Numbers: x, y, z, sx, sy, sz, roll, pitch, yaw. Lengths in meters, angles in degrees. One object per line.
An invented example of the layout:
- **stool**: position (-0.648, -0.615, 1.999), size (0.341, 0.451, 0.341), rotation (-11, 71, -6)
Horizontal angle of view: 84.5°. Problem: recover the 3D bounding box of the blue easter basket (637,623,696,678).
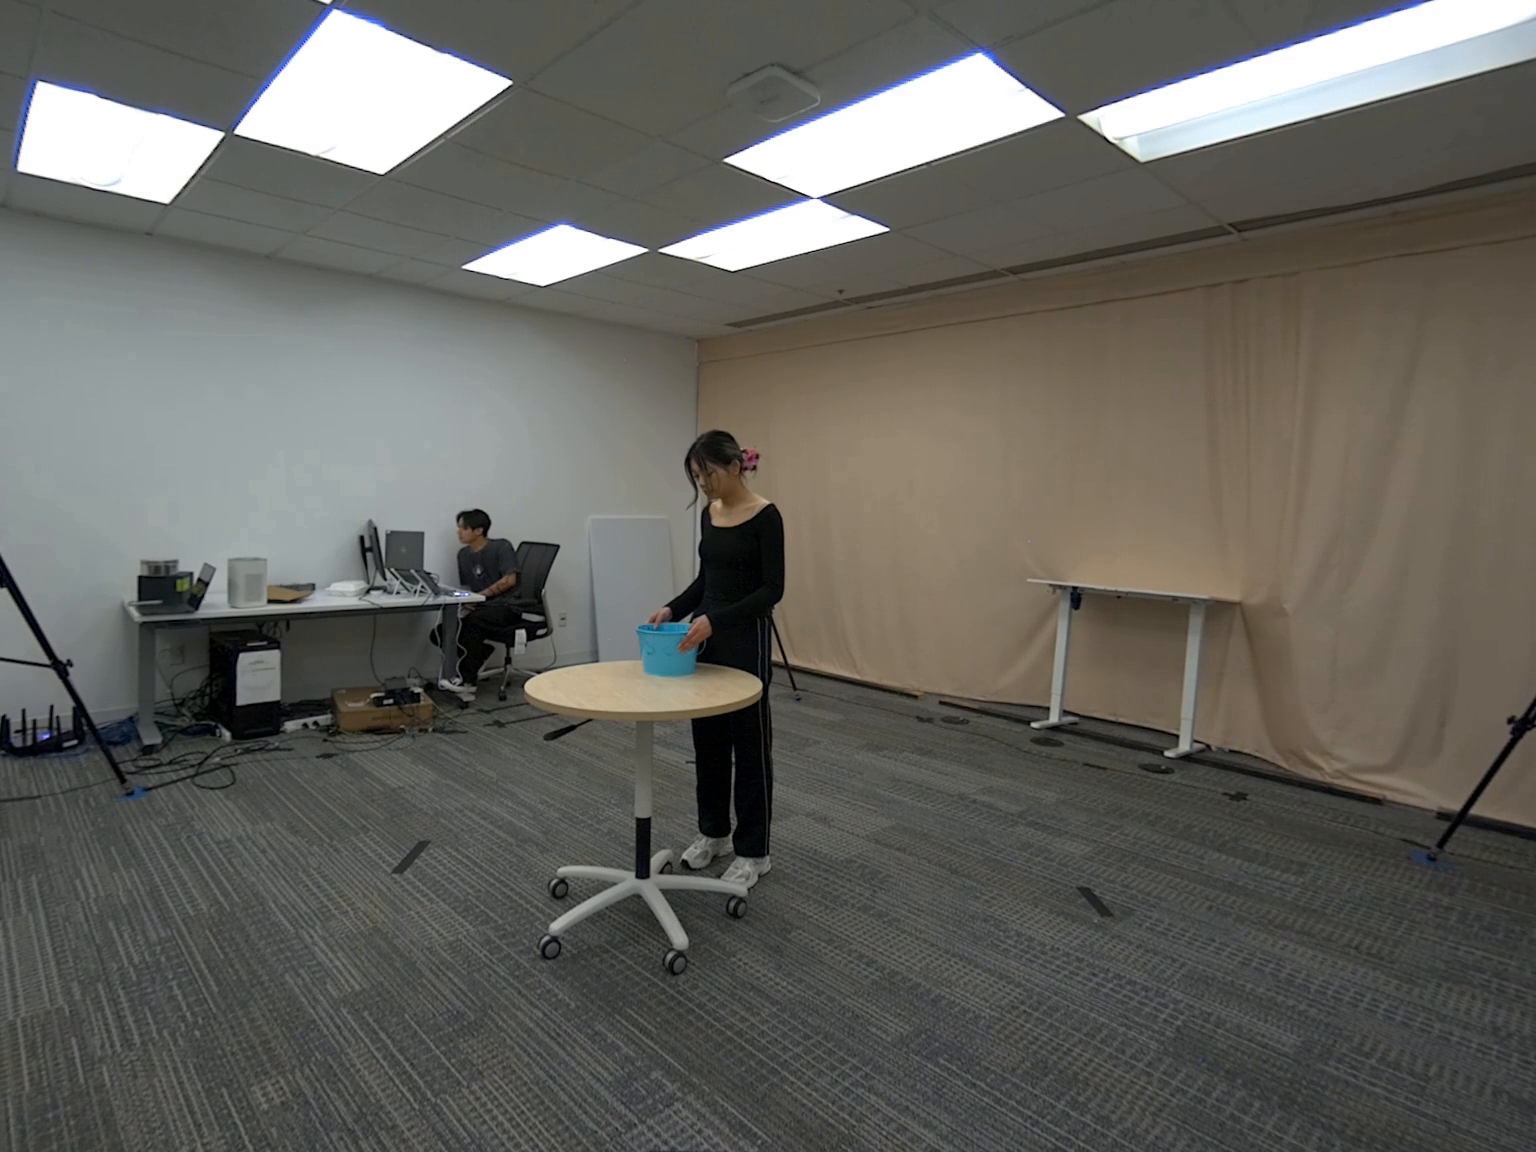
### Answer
- **blue easter basket**: position (-0.351, 0.256, 2.939), size (0.243, 0.155, 0.244), rotation (2, 4, -1)
